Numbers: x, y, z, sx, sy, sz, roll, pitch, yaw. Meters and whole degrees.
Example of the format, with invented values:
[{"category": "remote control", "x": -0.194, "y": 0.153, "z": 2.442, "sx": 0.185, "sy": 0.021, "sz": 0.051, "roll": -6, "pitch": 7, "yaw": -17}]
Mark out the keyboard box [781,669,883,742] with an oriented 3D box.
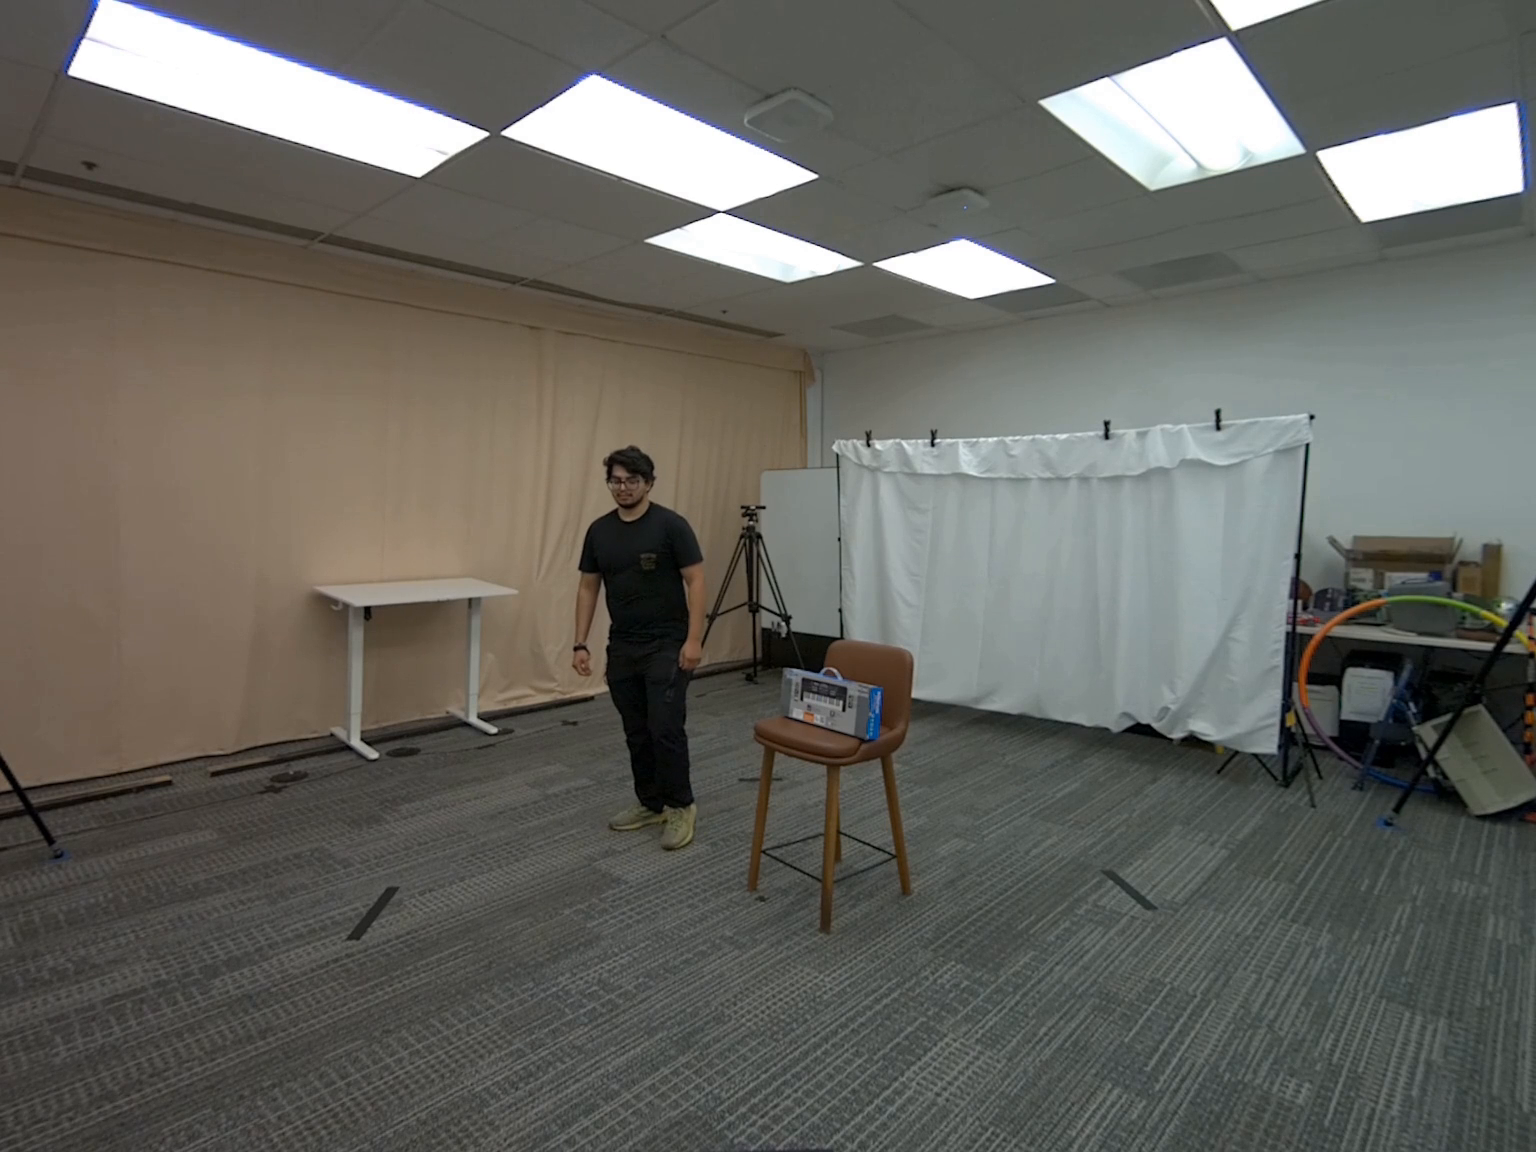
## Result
[{"category": "keyboard box", "x": 0.215, "y": 0.444, "z": 2.965, "sx": 0.057, "sy": 0.176, "sz": 0.451, "roll": 7, "pitch": -1, "yaw": -39}]
